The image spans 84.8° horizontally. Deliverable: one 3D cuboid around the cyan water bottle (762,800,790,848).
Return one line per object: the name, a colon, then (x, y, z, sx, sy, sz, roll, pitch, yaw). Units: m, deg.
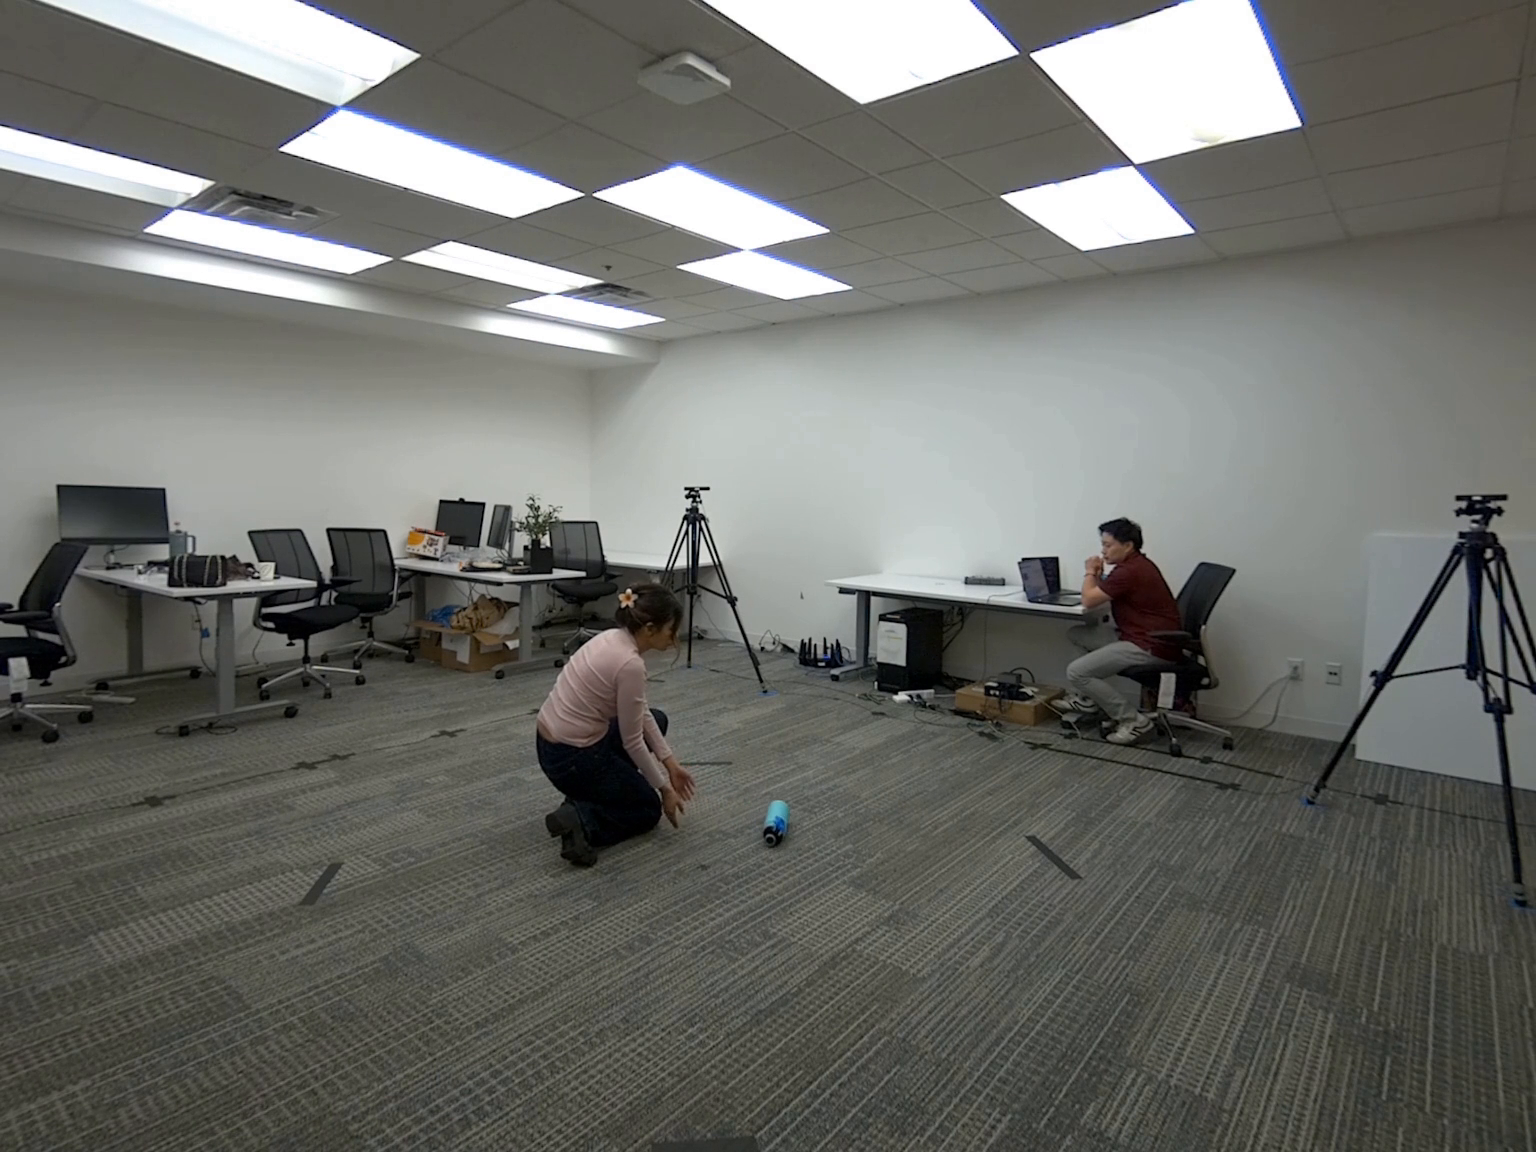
cyan water bottle: (0.019, 0.998, 3.425, 0.093, 0.092, 0.283, 1, 7, 5)
